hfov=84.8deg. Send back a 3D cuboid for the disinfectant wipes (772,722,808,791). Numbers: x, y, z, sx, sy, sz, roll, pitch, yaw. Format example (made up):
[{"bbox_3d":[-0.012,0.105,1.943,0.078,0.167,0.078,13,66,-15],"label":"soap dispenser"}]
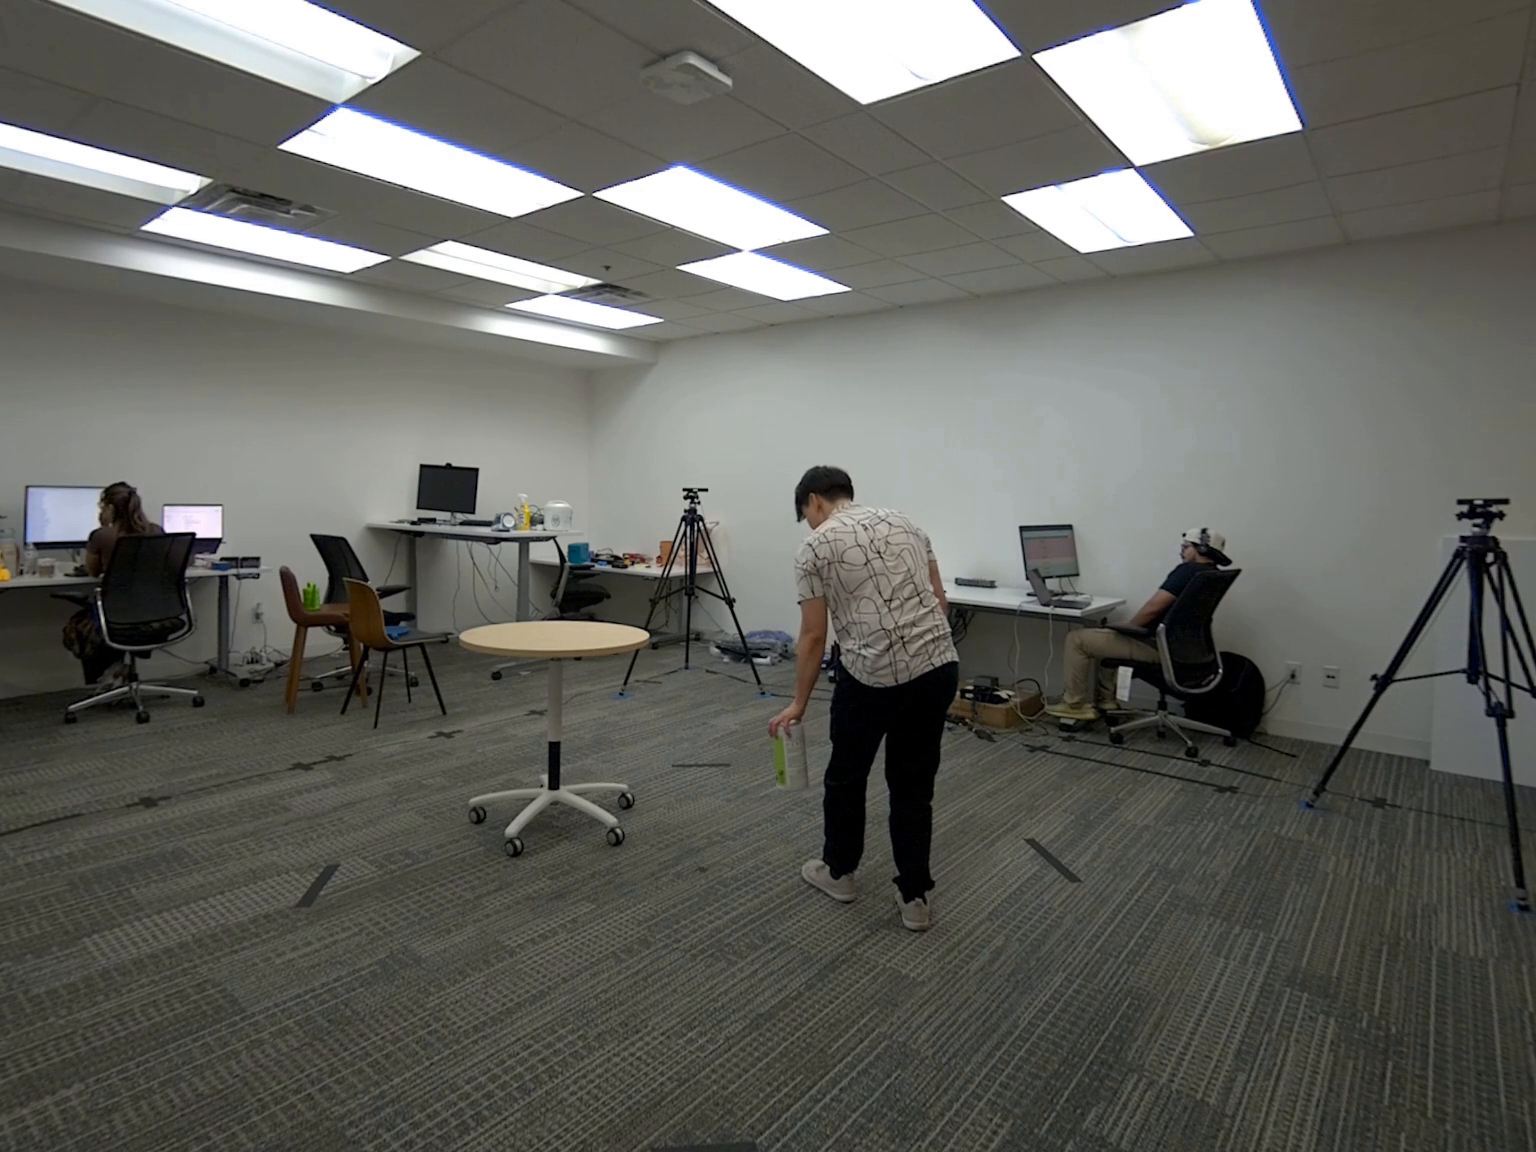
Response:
[{"bbox_3d":[0.075,0.609,2.868,0.118,0.217,0.118,-4,1,-2],"label":"disinfectant wipes"}]
